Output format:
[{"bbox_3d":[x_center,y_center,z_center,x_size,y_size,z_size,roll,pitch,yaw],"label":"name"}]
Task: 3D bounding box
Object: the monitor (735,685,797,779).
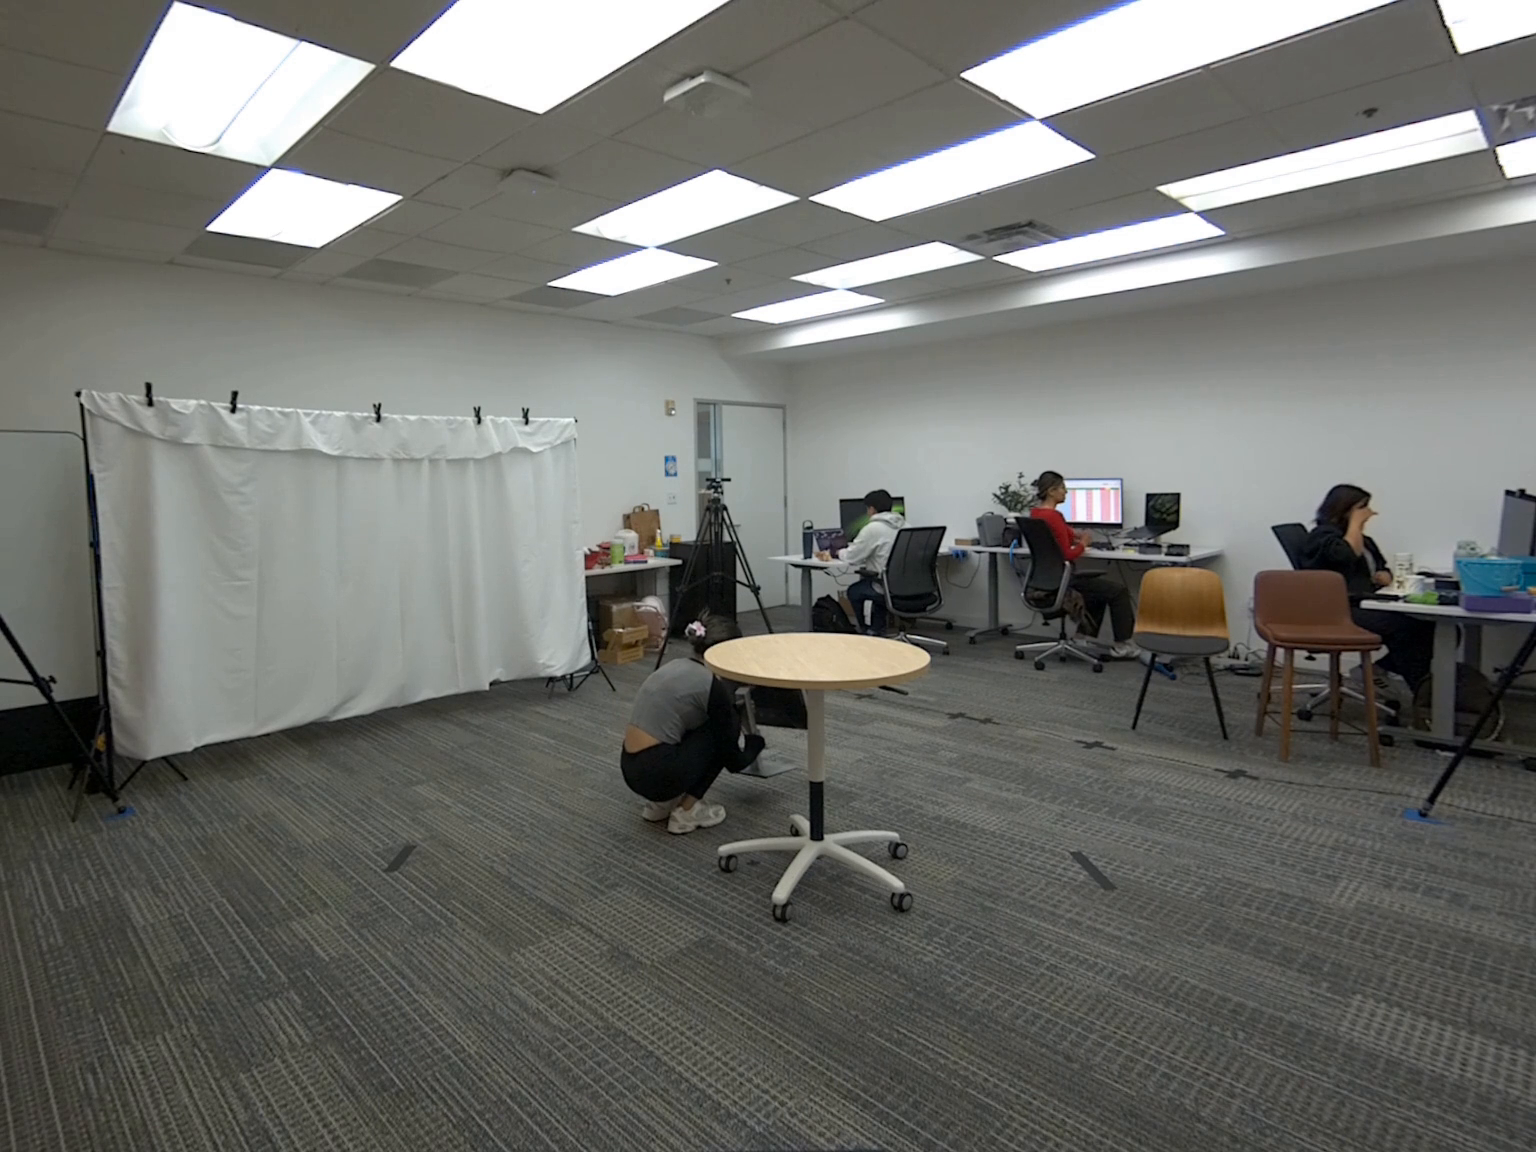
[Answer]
[{"bbox_3d":[-0.048,0.591,3.776,0.182,0.522,0.553,-6,1,-44],"label":"monitor"}]
